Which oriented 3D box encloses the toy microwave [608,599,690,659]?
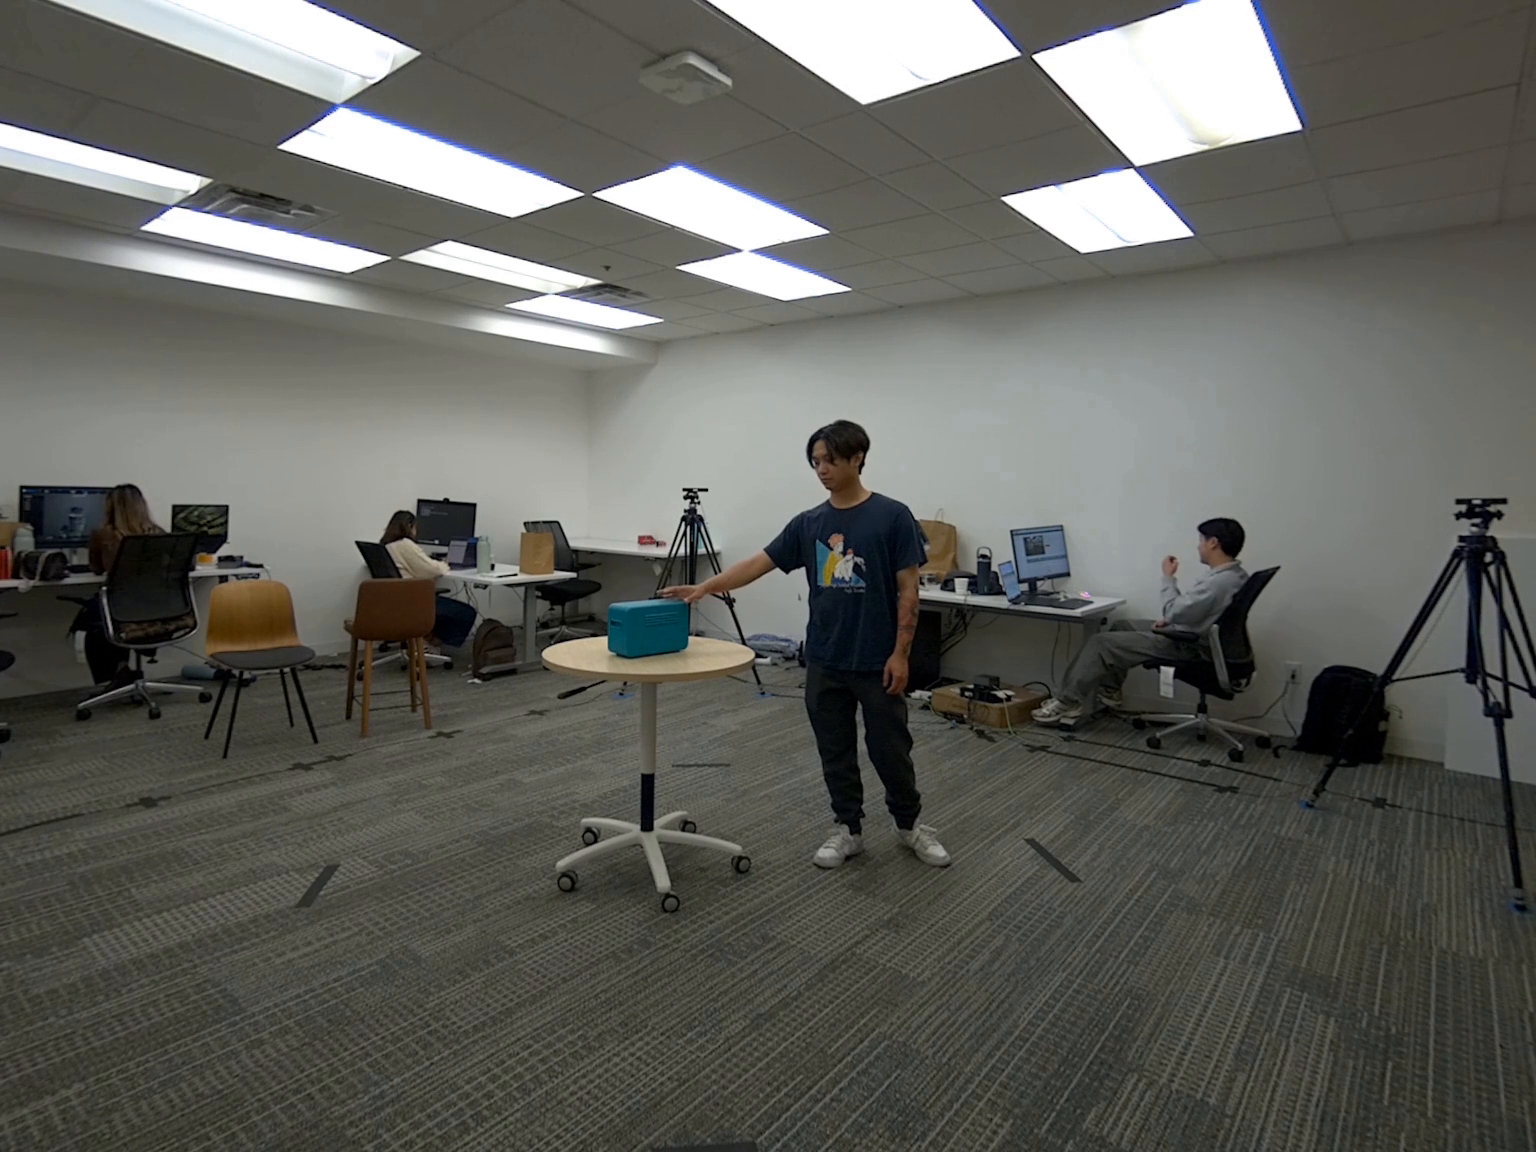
[{"bbox_3d":[-0.447,0.181,3.070,0.277,0.183,0.157,-3,5,-42],"label":"toy microwave"}]
